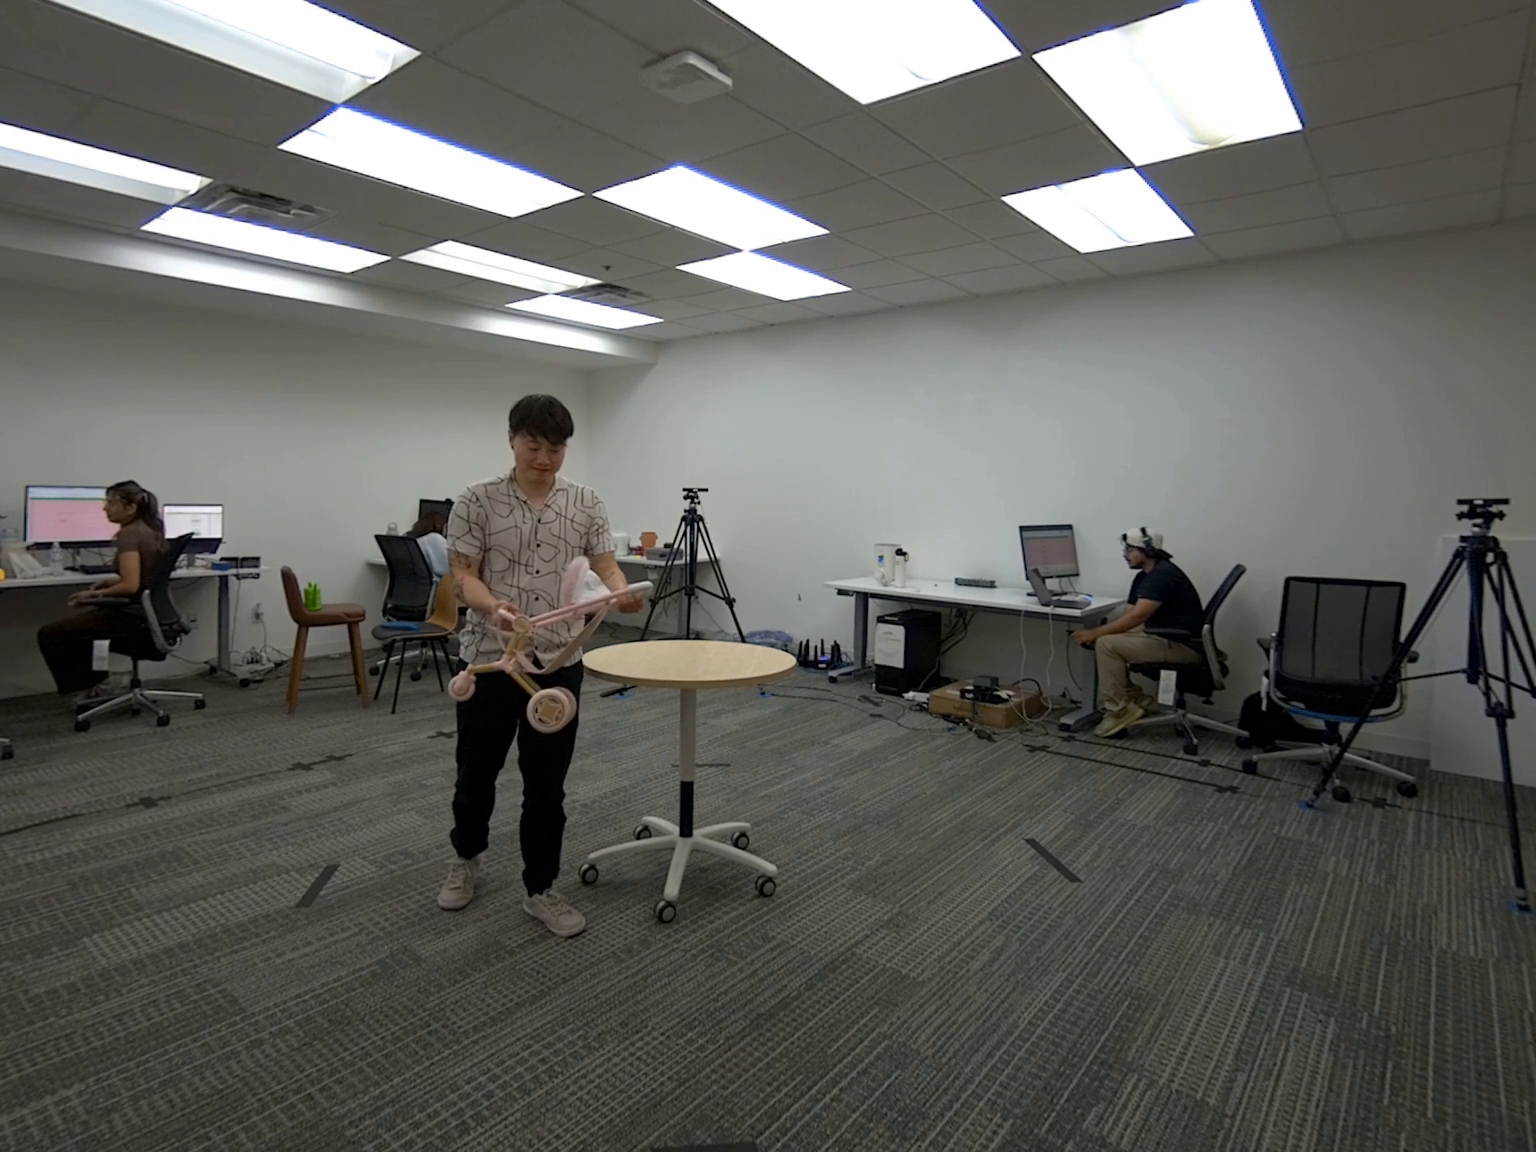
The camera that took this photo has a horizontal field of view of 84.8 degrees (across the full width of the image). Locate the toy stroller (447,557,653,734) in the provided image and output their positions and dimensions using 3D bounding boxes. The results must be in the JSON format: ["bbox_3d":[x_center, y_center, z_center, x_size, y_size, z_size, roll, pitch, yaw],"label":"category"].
[{"bbox_3d":[-0.610,0.170,2.326,0.342,0.536,0.280,30,-10,1],"label":"toy stroller"}]
